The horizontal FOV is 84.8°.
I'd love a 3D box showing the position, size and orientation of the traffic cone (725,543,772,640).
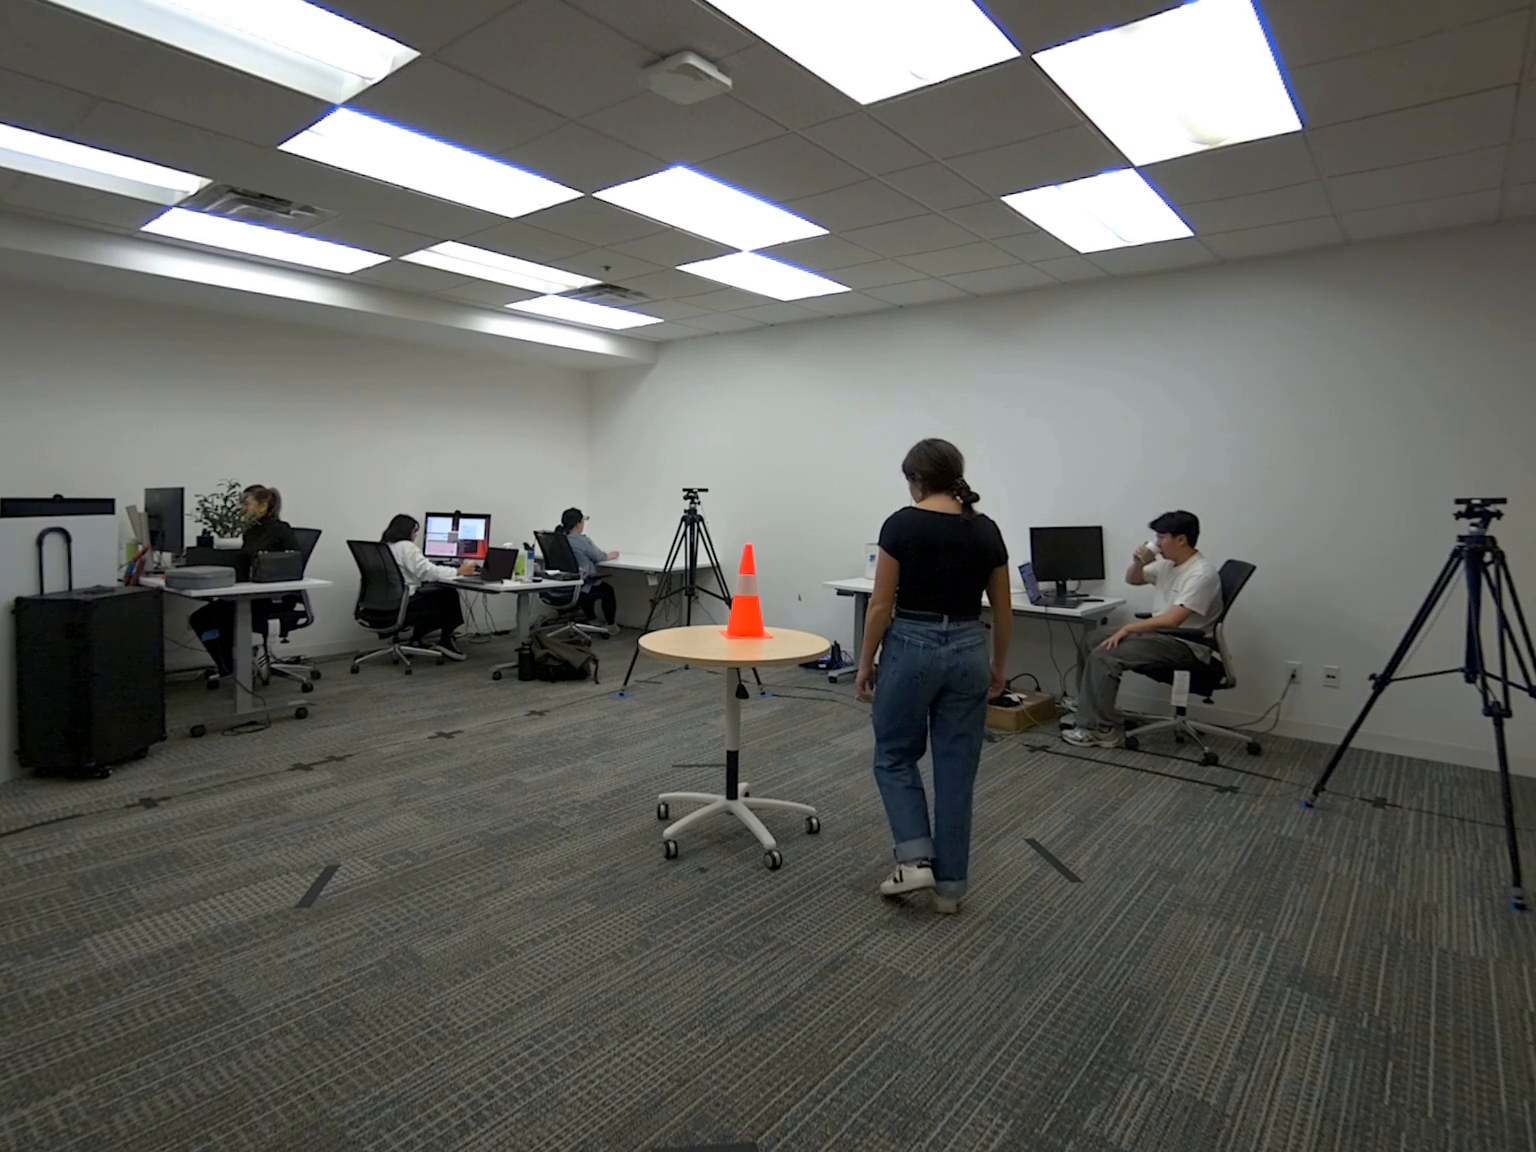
[{"bbox_3d":[-0.089,0.052,3.563,0.199,0.382,0.210,-1,6,-20],"label":"traffic cone"}]
